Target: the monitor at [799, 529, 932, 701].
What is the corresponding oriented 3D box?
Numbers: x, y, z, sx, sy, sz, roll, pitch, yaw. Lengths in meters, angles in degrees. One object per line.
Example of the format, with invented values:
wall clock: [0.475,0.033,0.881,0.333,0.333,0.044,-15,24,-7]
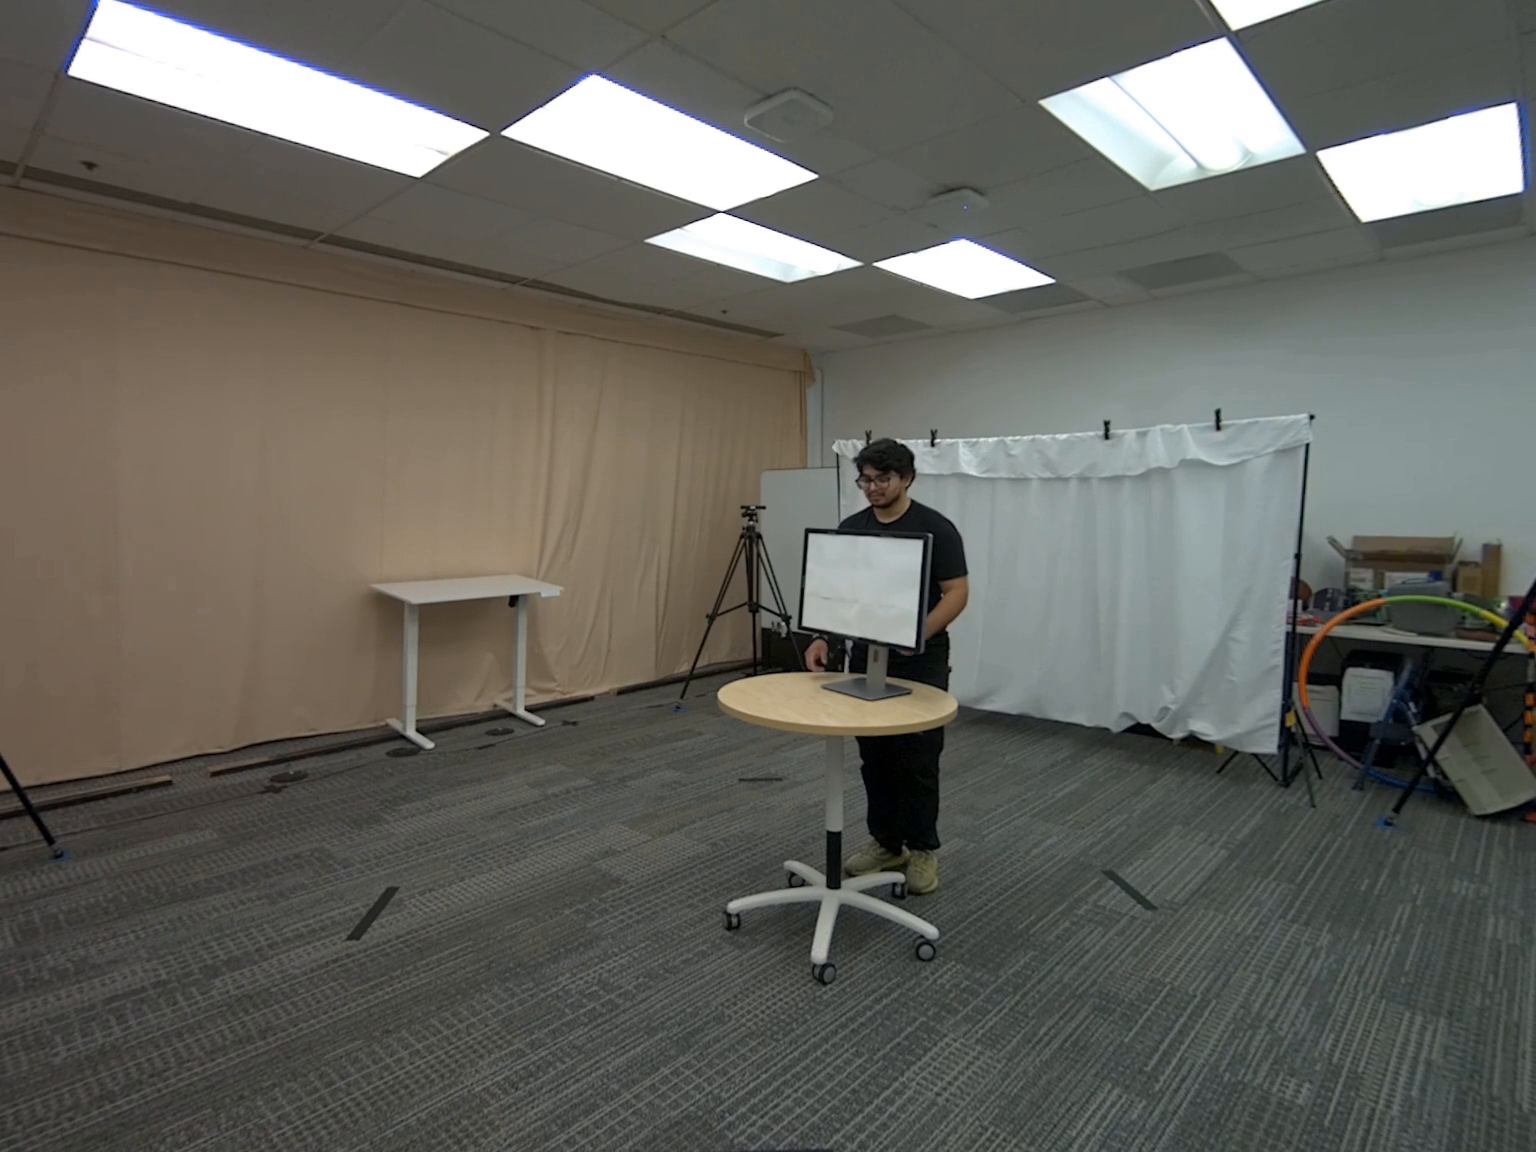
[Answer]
monitor: [0.359,0.121,2.810,0.204,0.553,0.584,1,4,-38]
